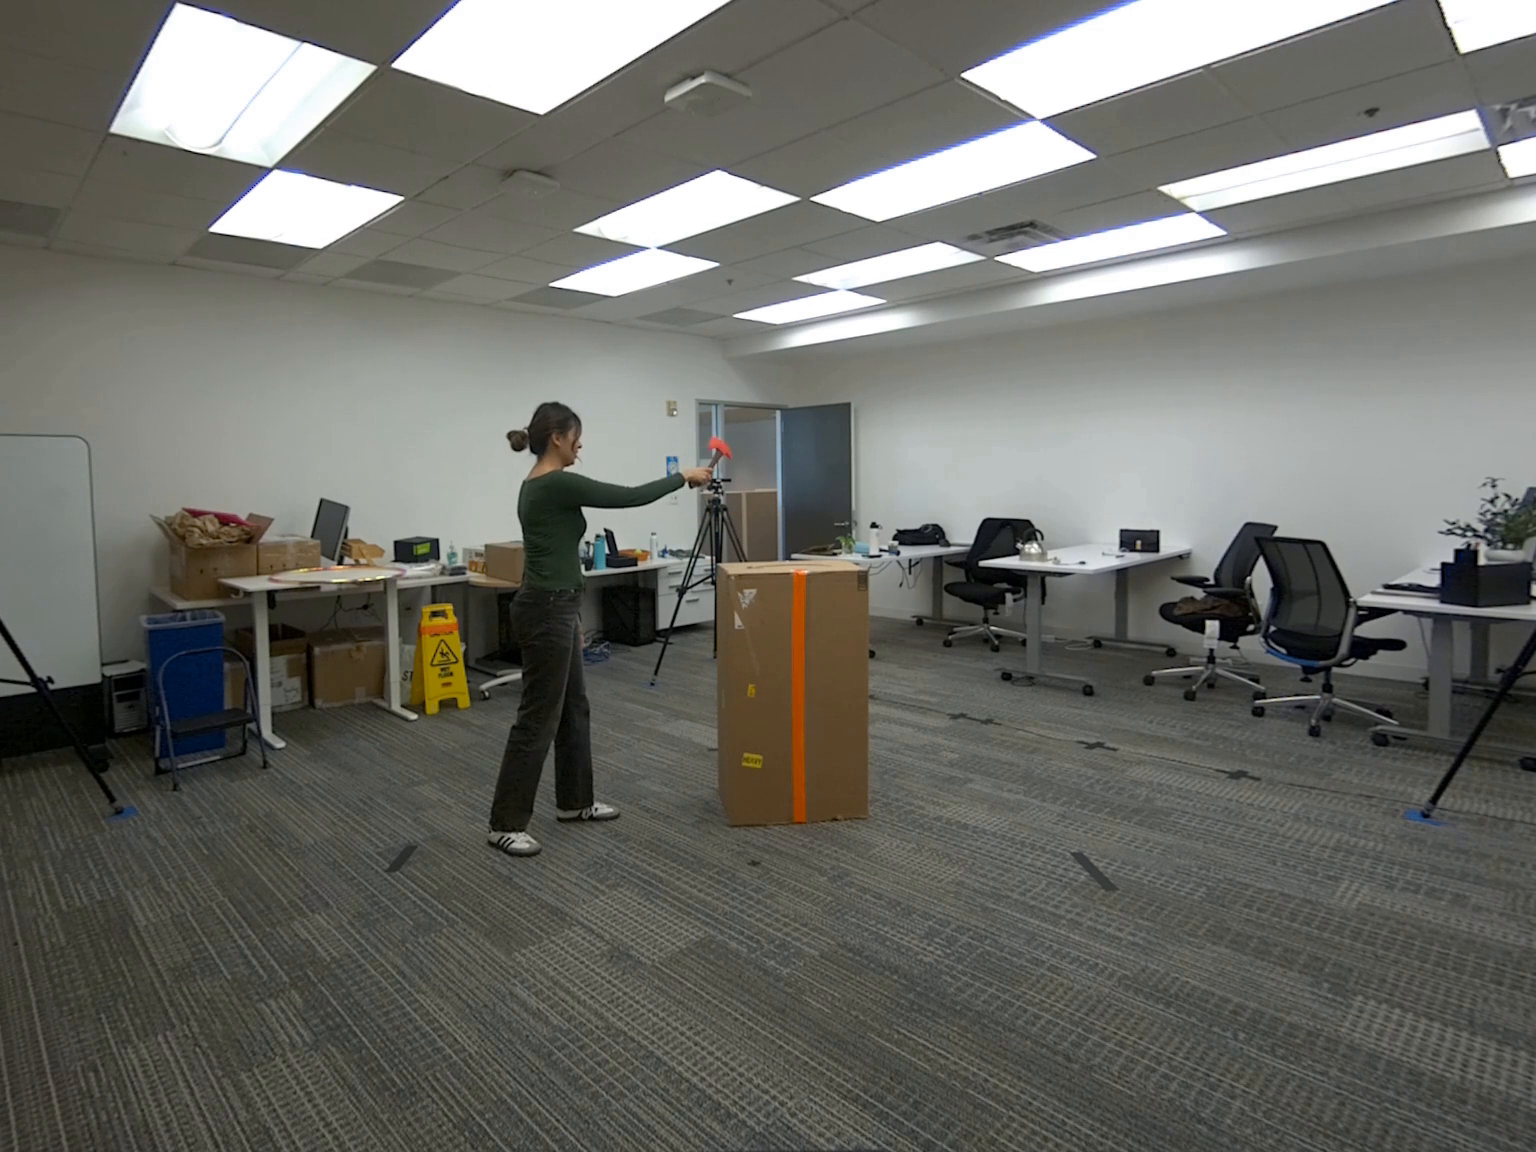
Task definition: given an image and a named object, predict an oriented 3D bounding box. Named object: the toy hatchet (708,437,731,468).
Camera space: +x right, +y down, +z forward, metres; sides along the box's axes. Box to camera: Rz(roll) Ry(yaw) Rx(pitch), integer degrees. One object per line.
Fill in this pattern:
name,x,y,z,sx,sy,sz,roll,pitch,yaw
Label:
toy hatchet,-0.249,-0.463,3.519,0.030,0.128,0.269,3,34,47
